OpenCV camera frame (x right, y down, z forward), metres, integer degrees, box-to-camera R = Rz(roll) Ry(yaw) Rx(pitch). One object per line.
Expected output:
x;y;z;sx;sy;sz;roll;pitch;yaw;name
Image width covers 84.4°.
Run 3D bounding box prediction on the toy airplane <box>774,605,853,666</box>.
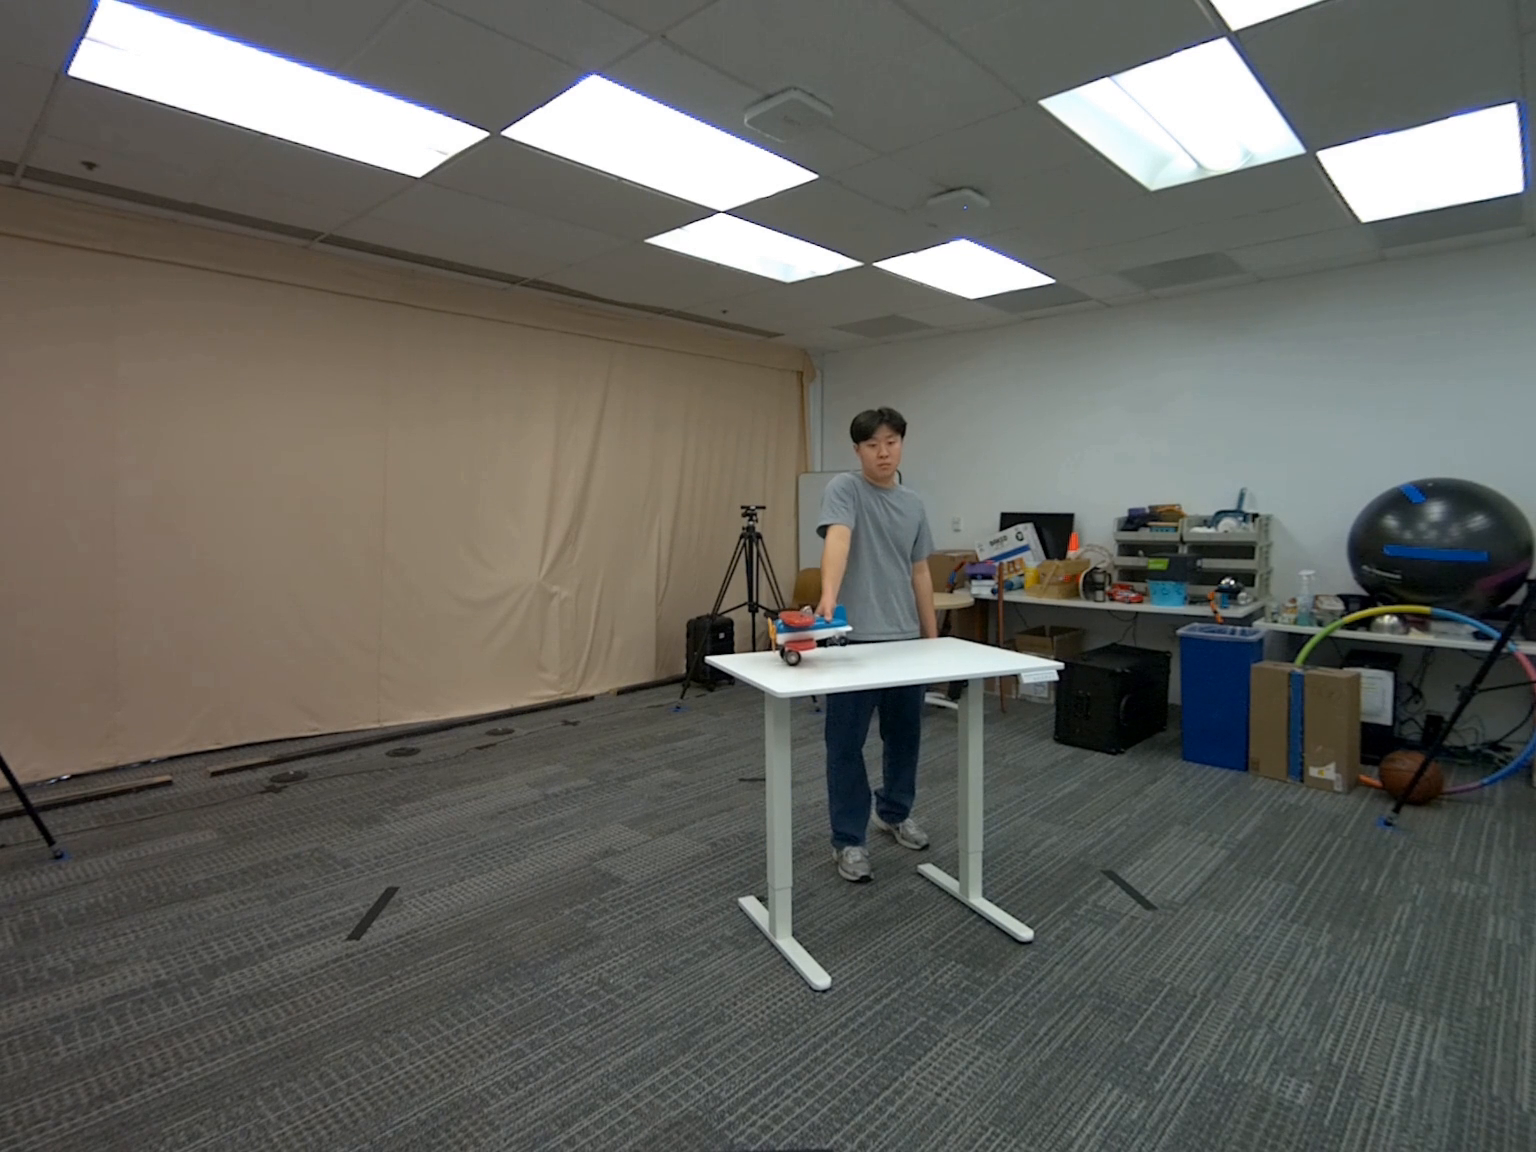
0.136;0.184;2.743;0.254;0.155;0.258;-23;9;-34;toy airplane
